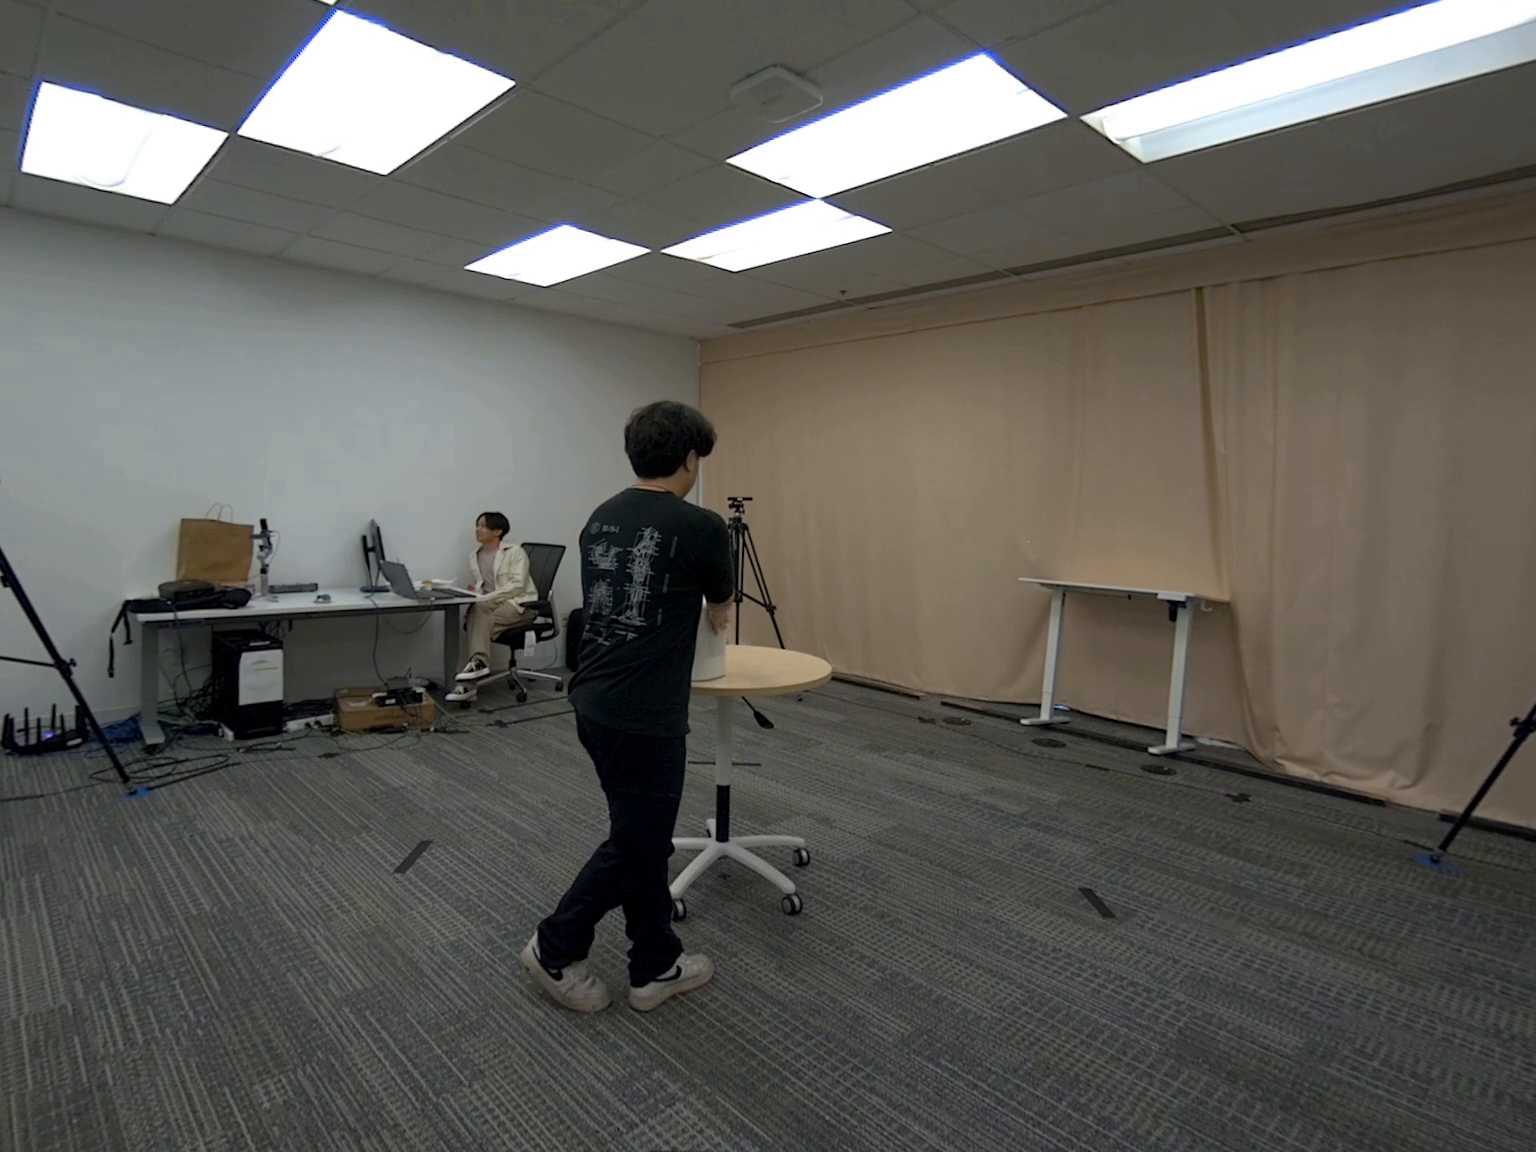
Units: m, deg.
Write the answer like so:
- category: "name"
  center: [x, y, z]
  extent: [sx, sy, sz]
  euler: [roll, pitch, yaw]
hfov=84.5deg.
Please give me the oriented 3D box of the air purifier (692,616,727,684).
- category: "air purifier"
  center: [-0.246, 0.208, 2.840]
  extent: [0.175, 0.264, 0.168]
  euler: [4, 6, 39]
